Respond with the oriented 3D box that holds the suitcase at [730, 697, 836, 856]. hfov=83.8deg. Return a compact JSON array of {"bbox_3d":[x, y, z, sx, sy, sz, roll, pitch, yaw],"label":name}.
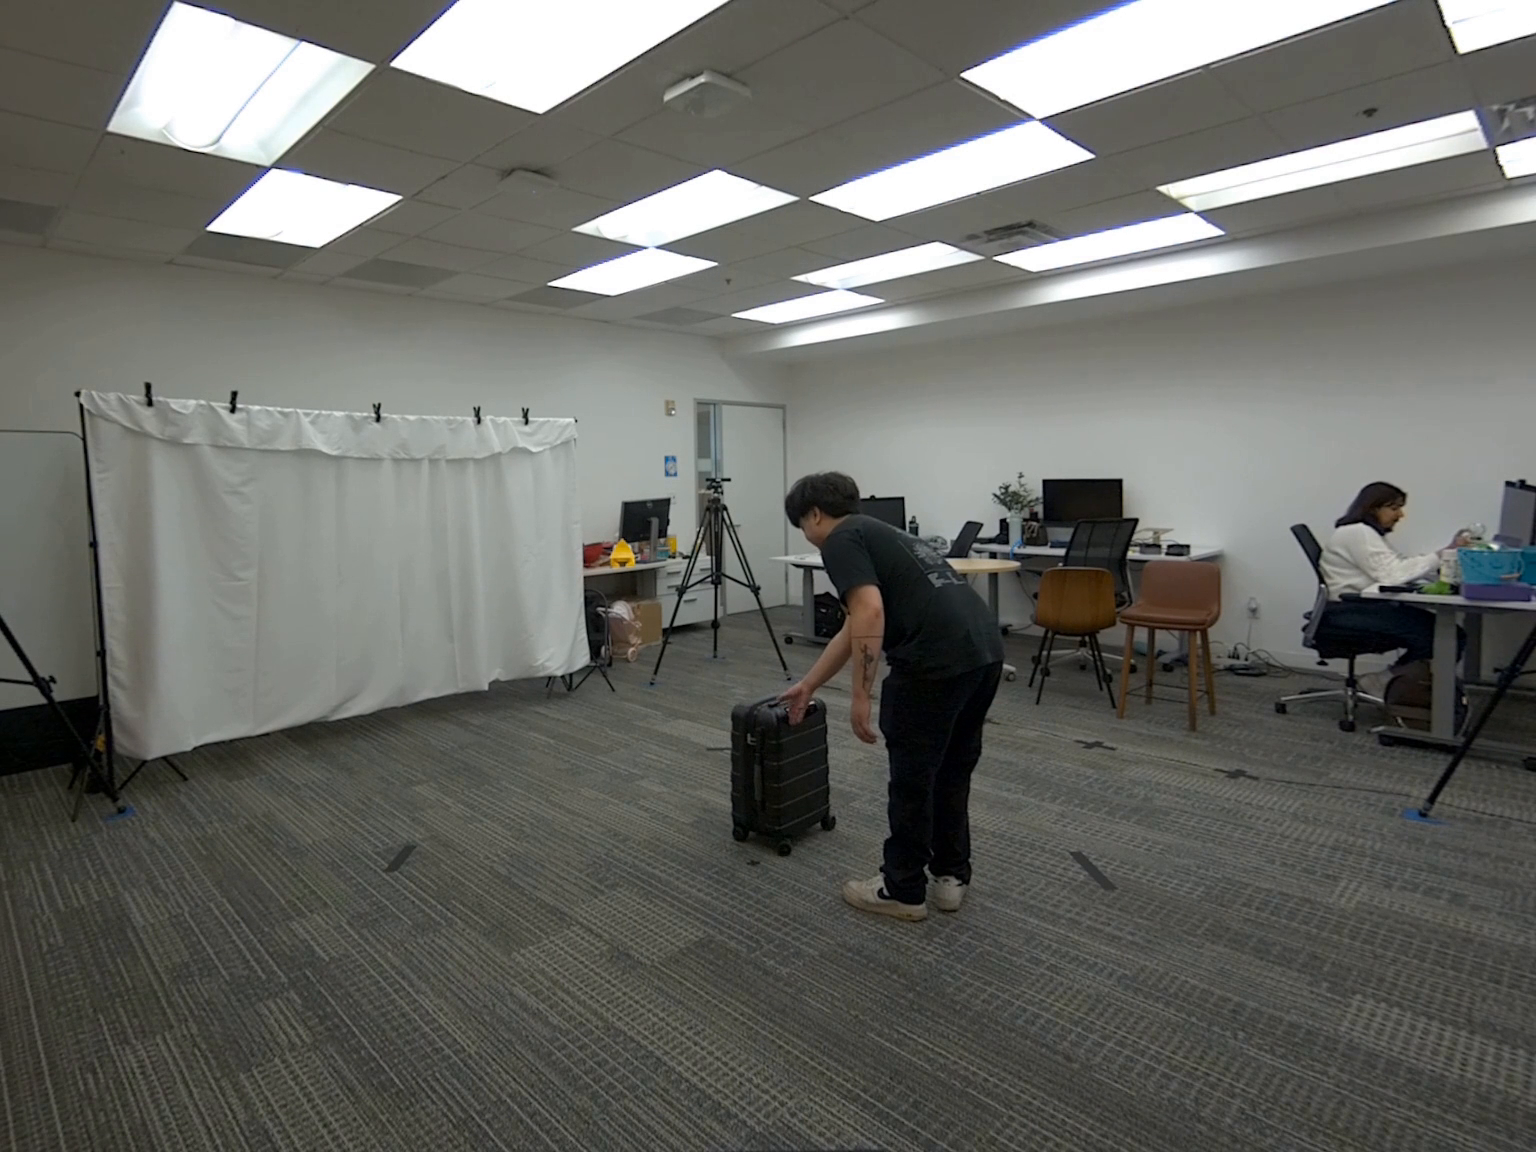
[{"bbox_3d":[0.054,0.740,3.335,0.256,0.547,0.366,1,6,43],"label":"suitcase"}]
